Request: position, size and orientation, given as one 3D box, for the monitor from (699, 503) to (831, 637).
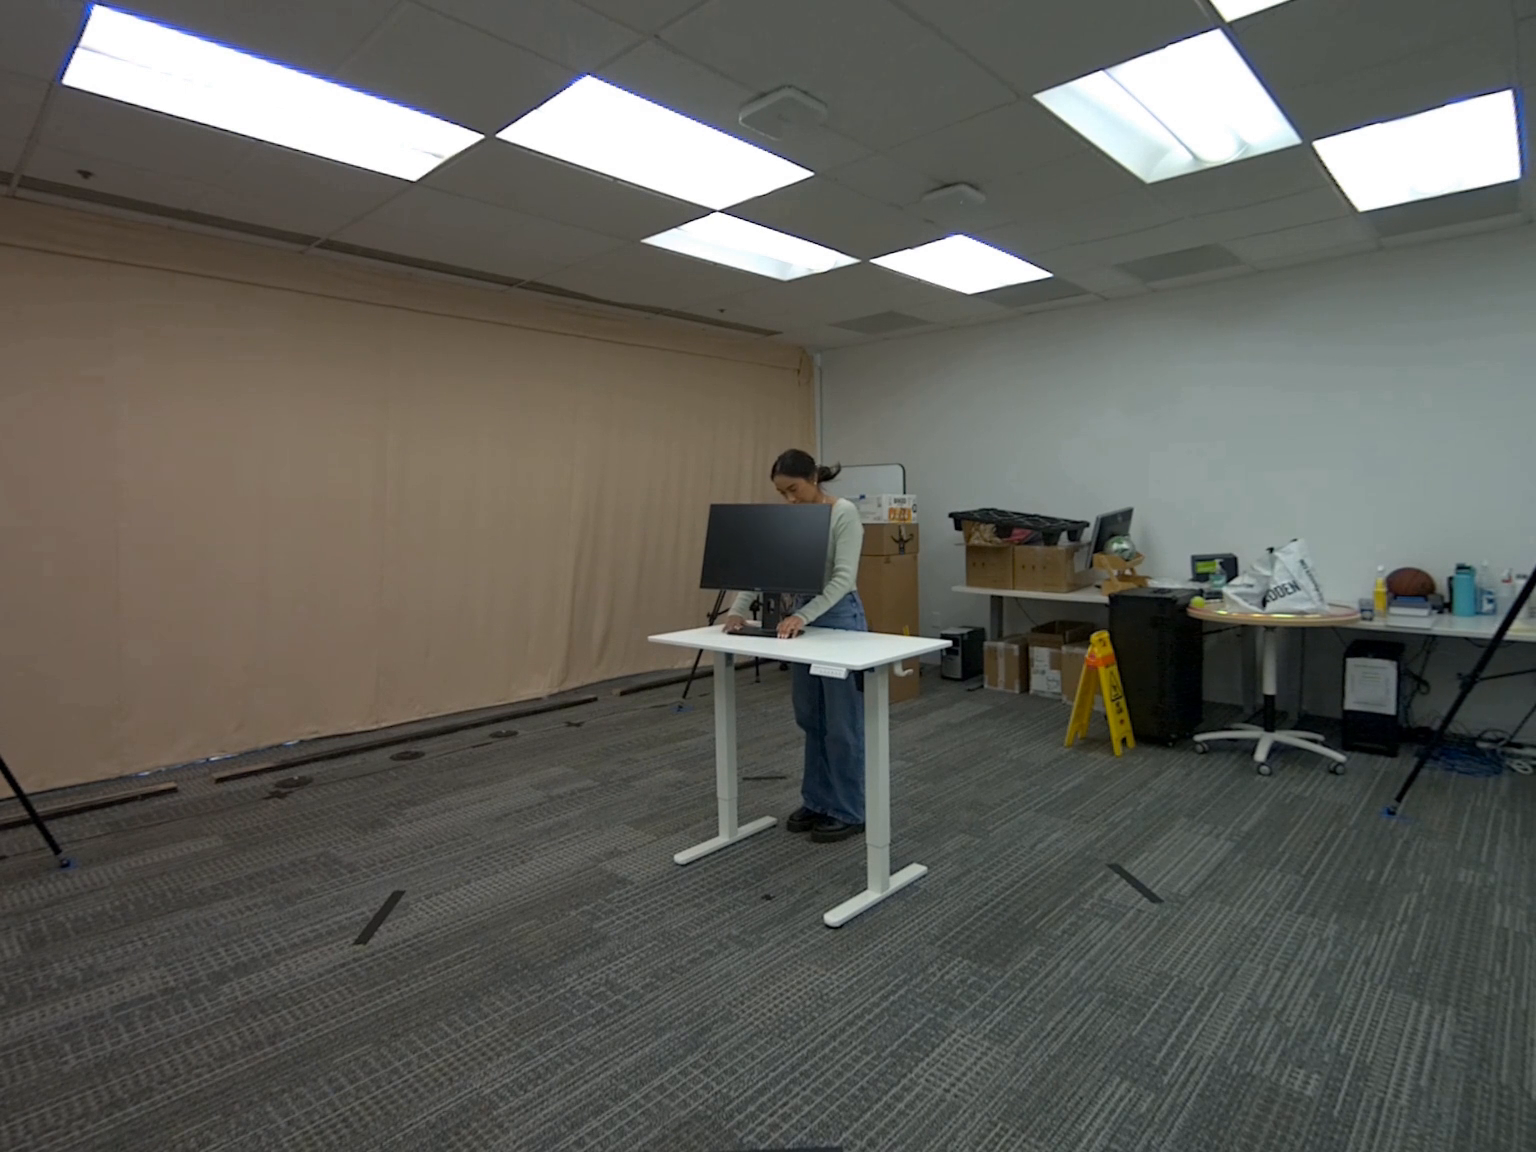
[{"bbox_3d":[-0.002,-0.029,3.322,0.544,0.514,0.170,3,7,27],"label":"monitor"}]
